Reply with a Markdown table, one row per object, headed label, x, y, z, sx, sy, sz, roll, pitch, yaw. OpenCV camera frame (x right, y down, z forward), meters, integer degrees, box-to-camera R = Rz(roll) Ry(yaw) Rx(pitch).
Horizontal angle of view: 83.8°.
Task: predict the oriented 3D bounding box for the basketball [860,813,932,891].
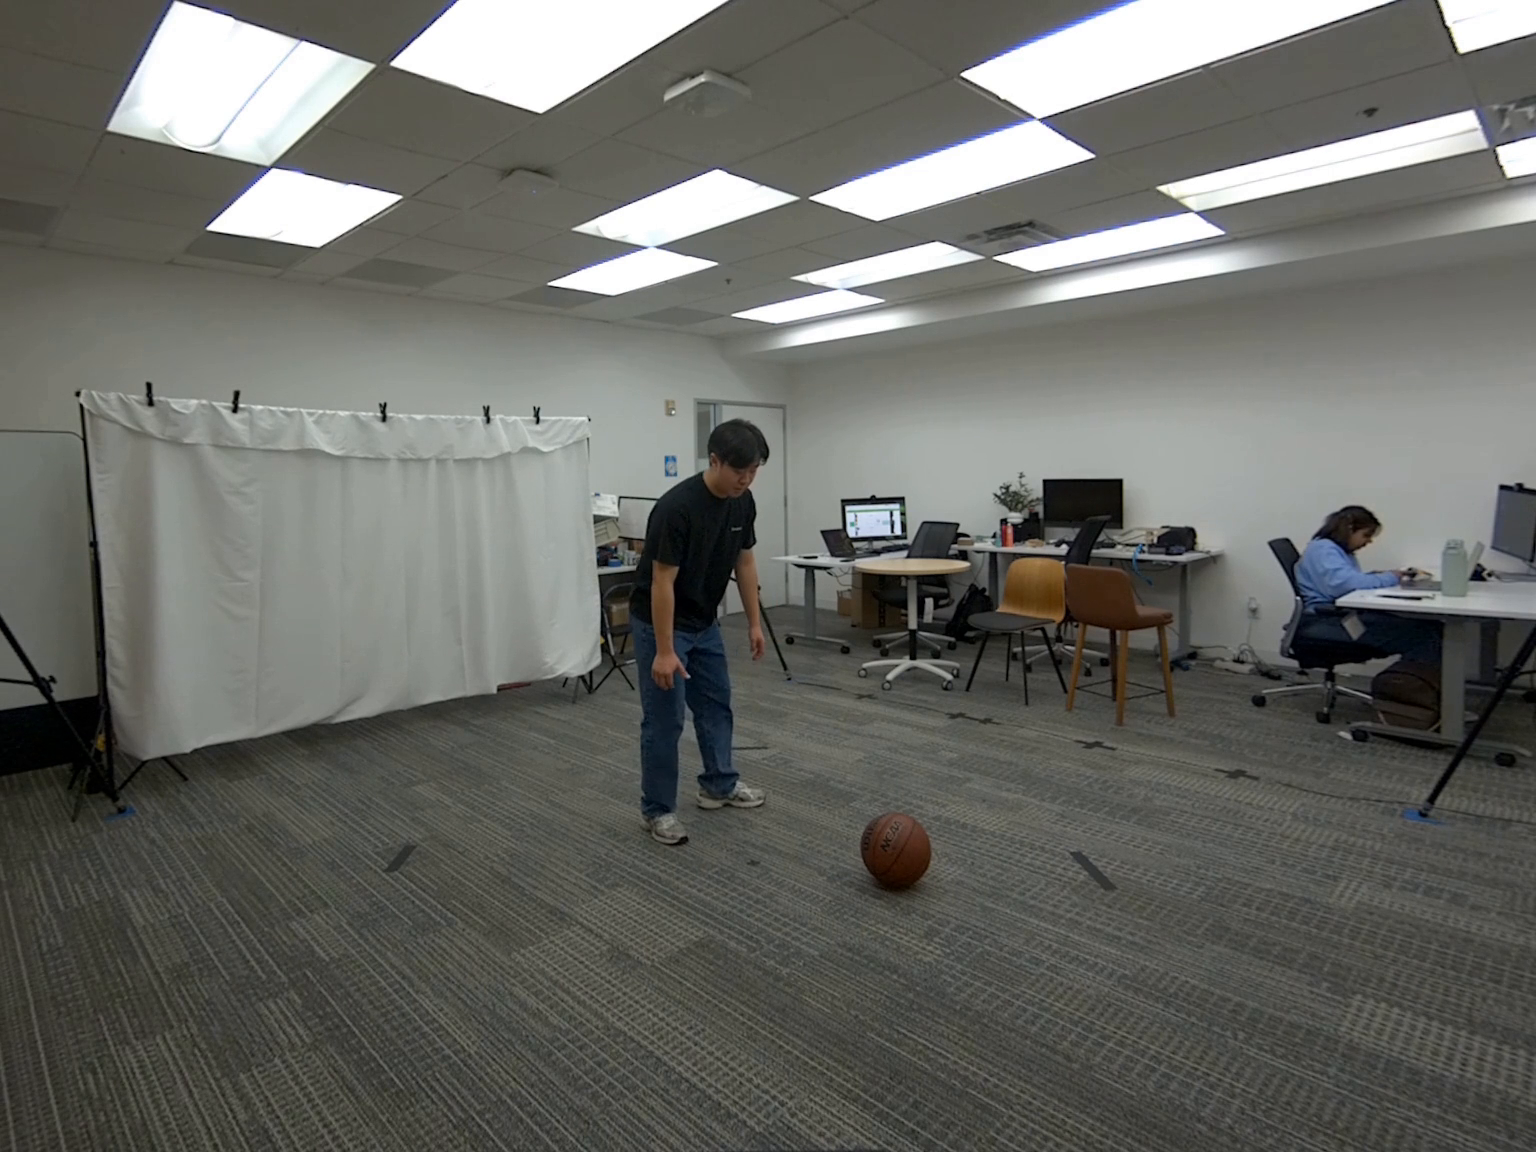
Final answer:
| label | x | y | z | sx | sy | sz | roll | pitch | yaw |
| --- | --- | --- | --- | --- | --- | --- | --- | --- | --- |
| basketball | 0.443 | 0.932 | 2.922 | 0.236 | 0.235 | 0.237 | -1 | 5 | -2 |
